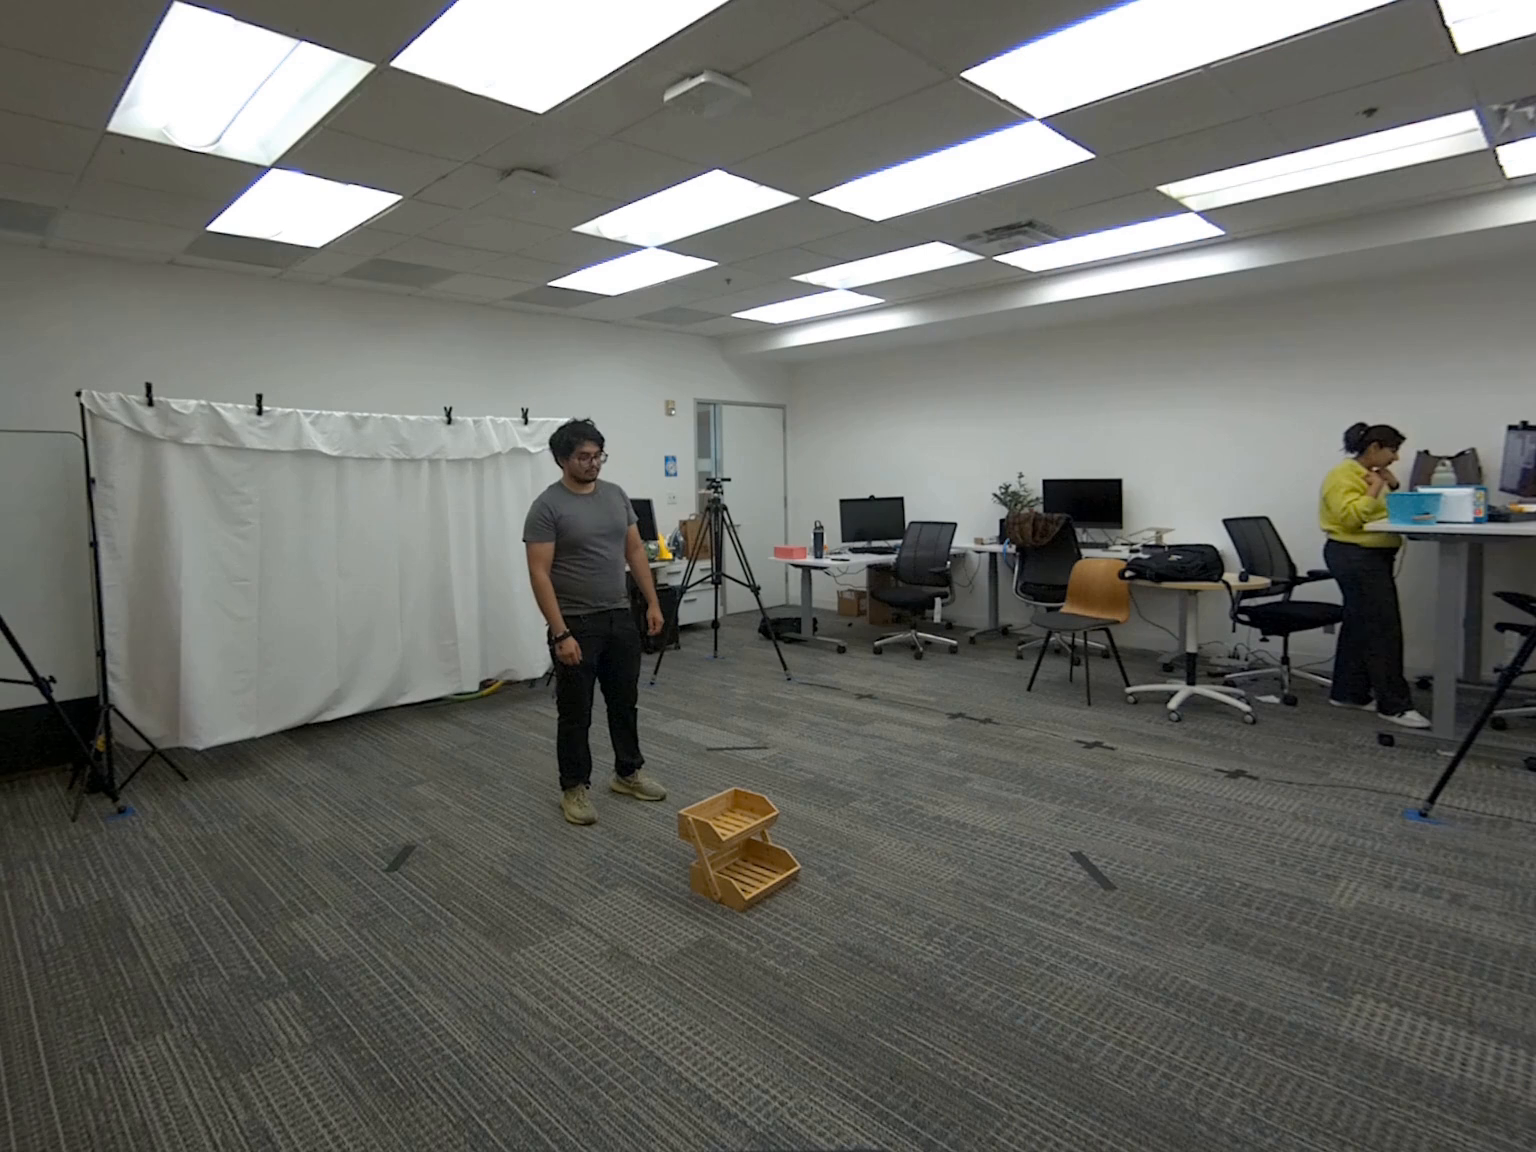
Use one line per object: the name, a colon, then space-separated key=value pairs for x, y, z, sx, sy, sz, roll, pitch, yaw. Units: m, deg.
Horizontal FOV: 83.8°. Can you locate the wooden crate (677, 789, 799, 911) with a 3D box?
wooden crate: x=-0.097 y=0.922 z=2.947 sx=0.311 sy=0.272 sz=0.316 roll=3 pitch=7 yaw=40
